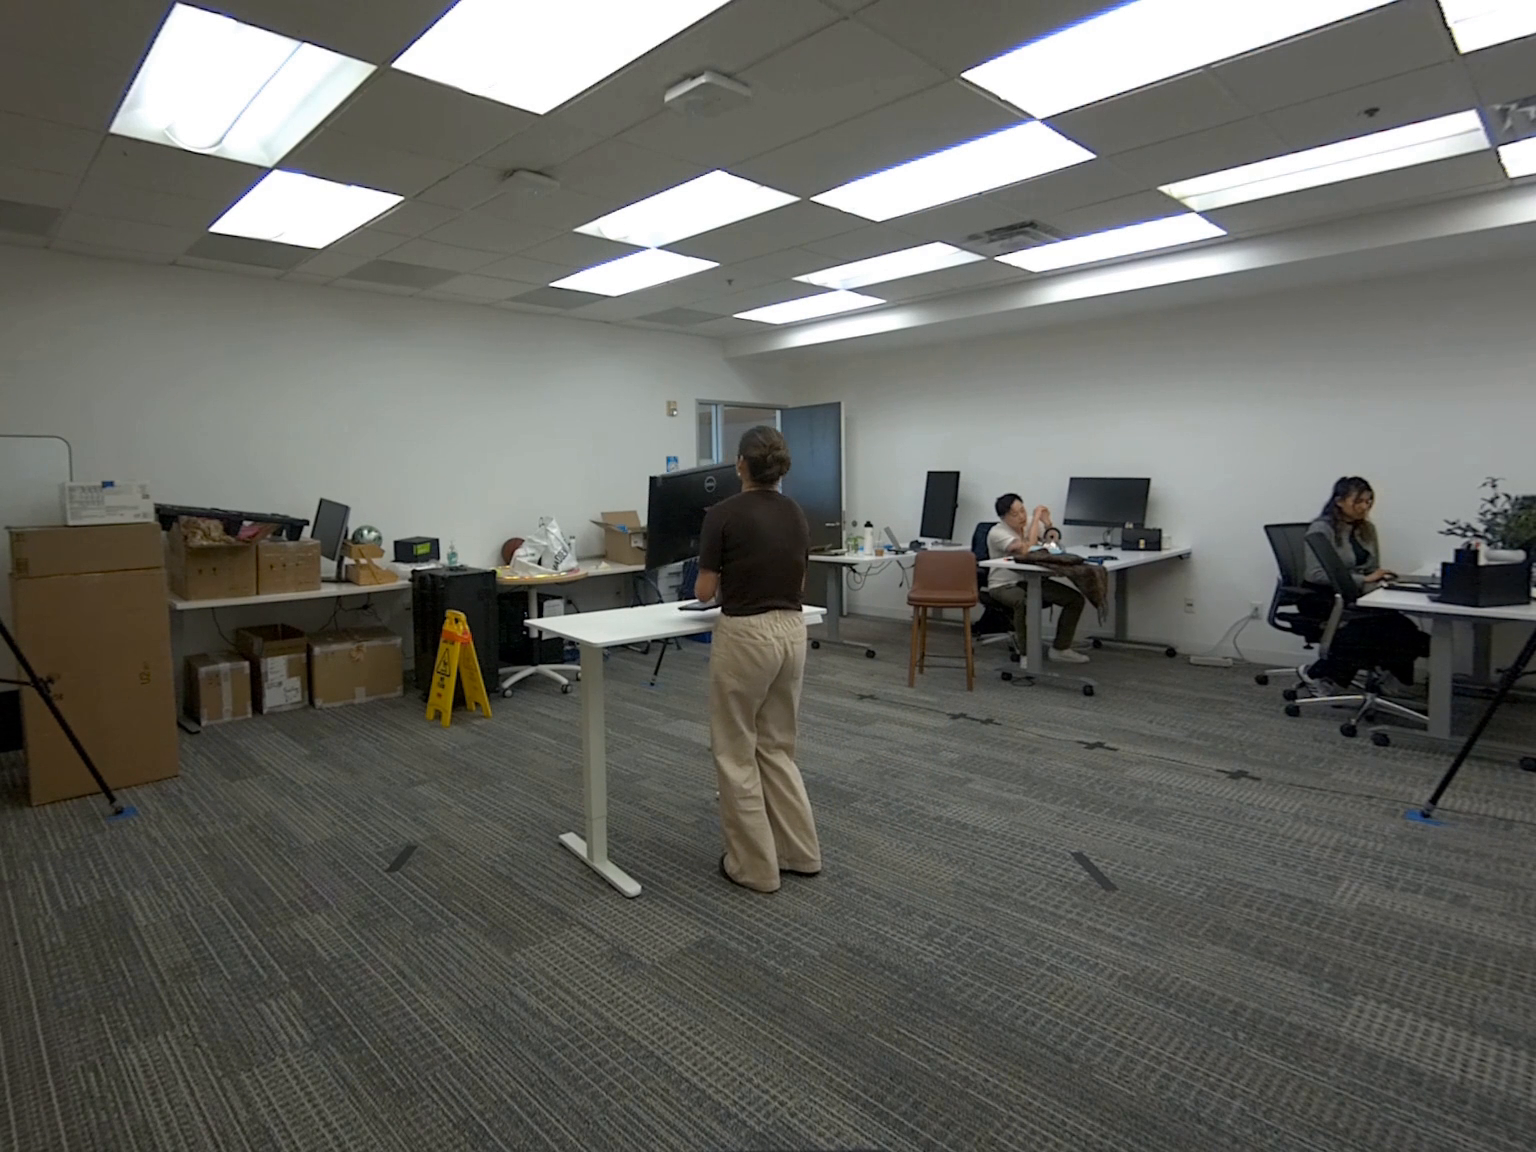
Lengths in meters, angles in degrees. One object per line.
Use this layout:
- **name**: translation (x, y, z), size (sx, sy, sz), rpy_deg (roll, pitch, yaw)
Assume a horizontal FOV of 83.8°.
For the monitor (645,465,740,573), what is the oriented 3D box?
- **monitor**: translation (-0.208, -0.152, 3.166), size (0.192, 0.518, 0.528), rpy_deg (1, 12, 38)
